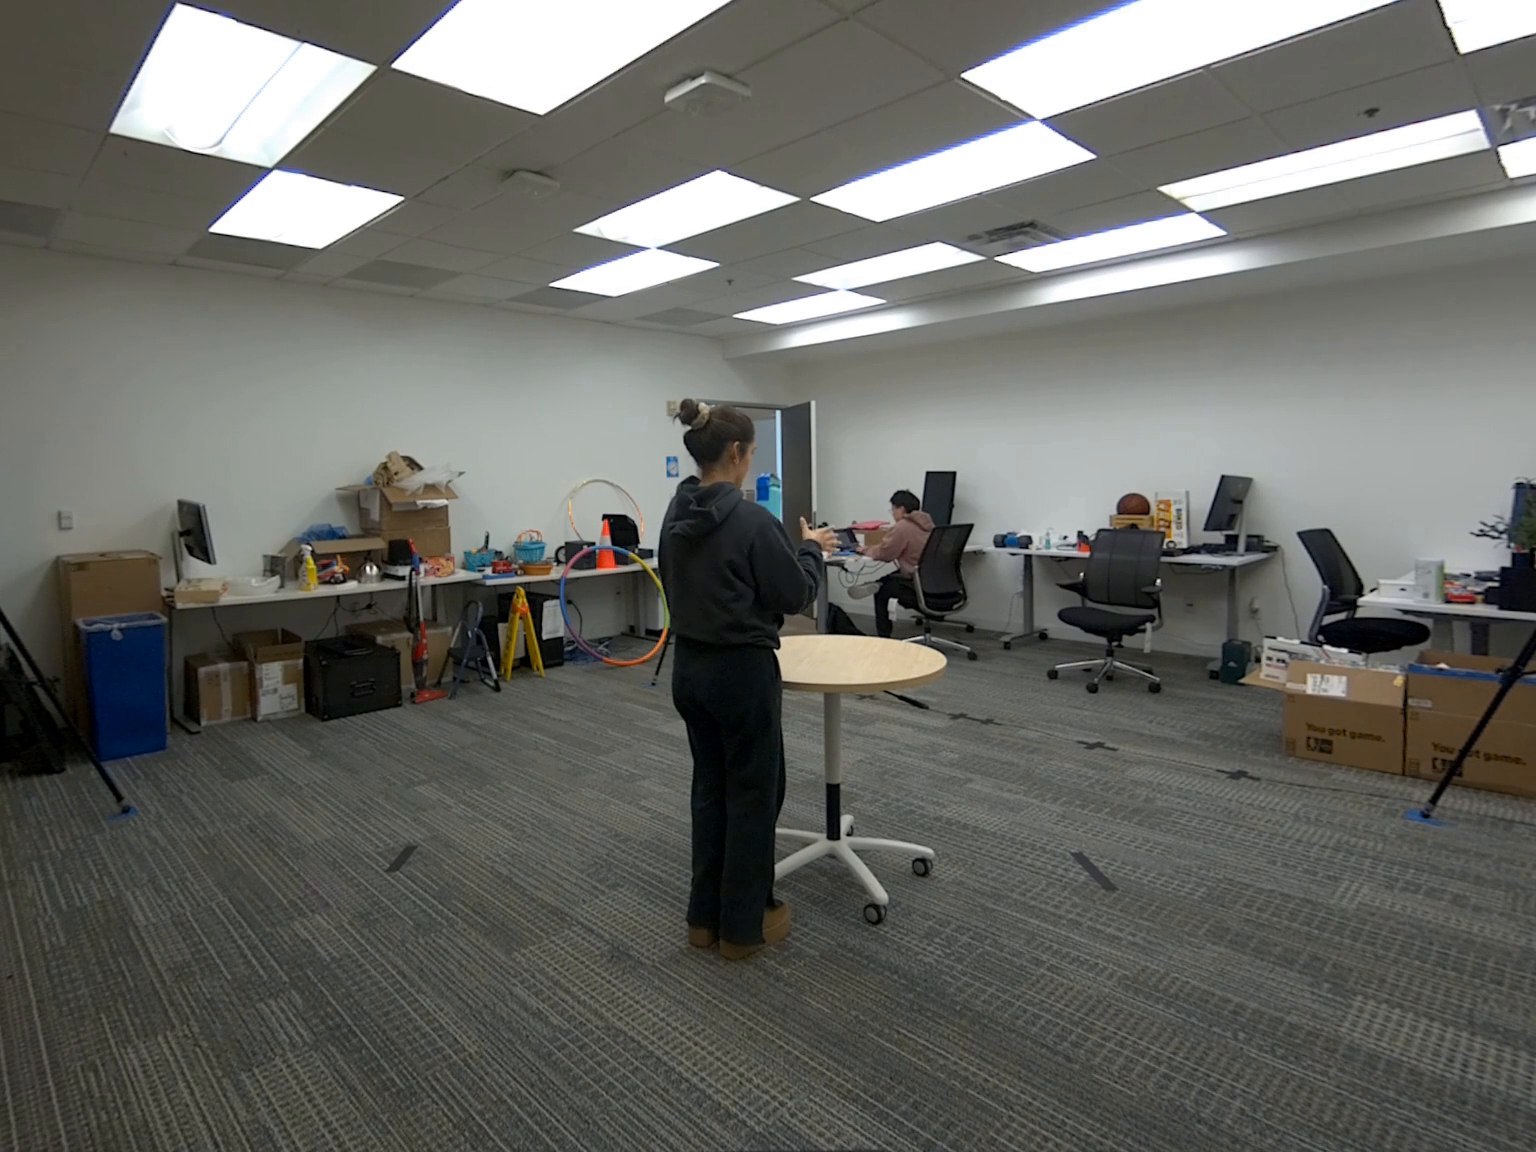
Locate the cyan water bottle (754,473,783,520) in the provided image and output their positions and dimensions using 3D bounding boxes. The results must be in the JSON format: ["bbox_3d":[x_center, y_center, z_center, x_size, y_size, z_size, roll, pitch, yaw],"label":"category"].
[{"bbox_3d":[0.003,-0.203,2.846,0.092,0.286,0.091,4,-10,-1],"label":"cyan water bottle"}]
